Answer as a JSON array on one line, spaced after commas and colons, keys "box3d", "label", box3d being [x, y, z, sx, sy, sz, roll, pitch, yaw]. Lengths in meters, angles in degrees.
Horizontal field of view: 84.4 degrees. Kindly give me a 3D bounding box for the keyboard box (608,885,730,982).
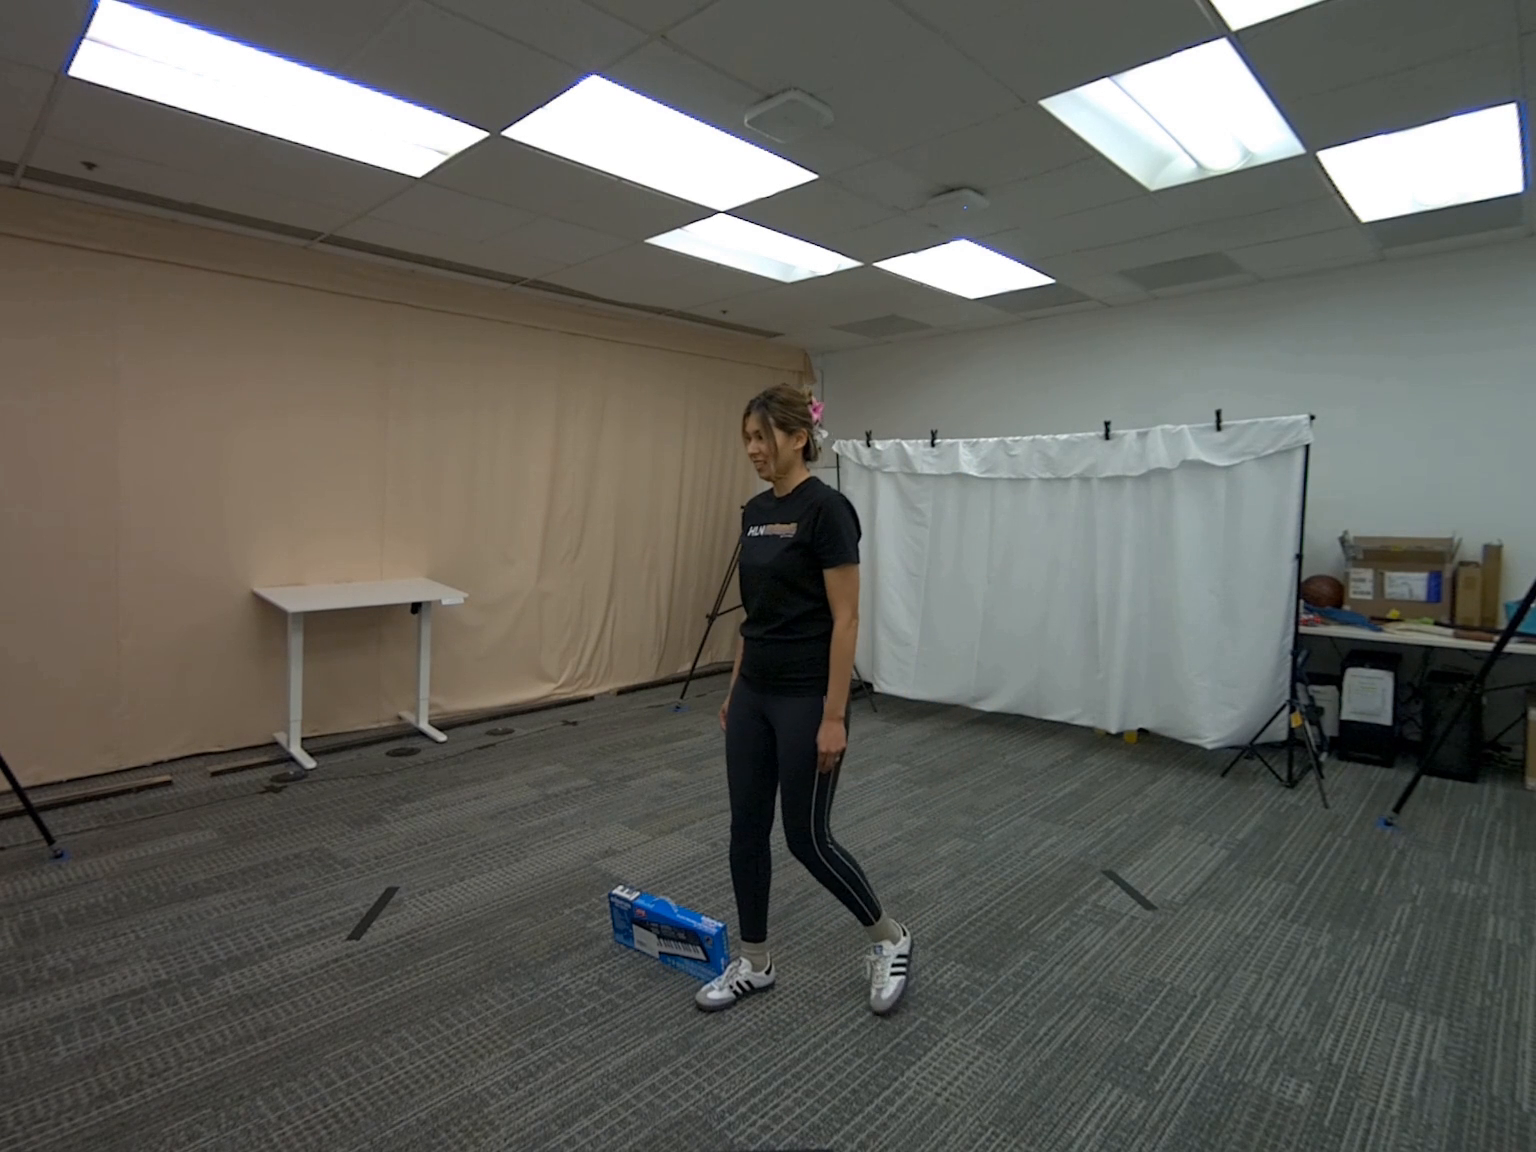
[{"box3d": [-0.306, 1.094, 2.571, 0.451, 0.175, 0.057, 3, 11, 37], "label": "keyboard box"}]
